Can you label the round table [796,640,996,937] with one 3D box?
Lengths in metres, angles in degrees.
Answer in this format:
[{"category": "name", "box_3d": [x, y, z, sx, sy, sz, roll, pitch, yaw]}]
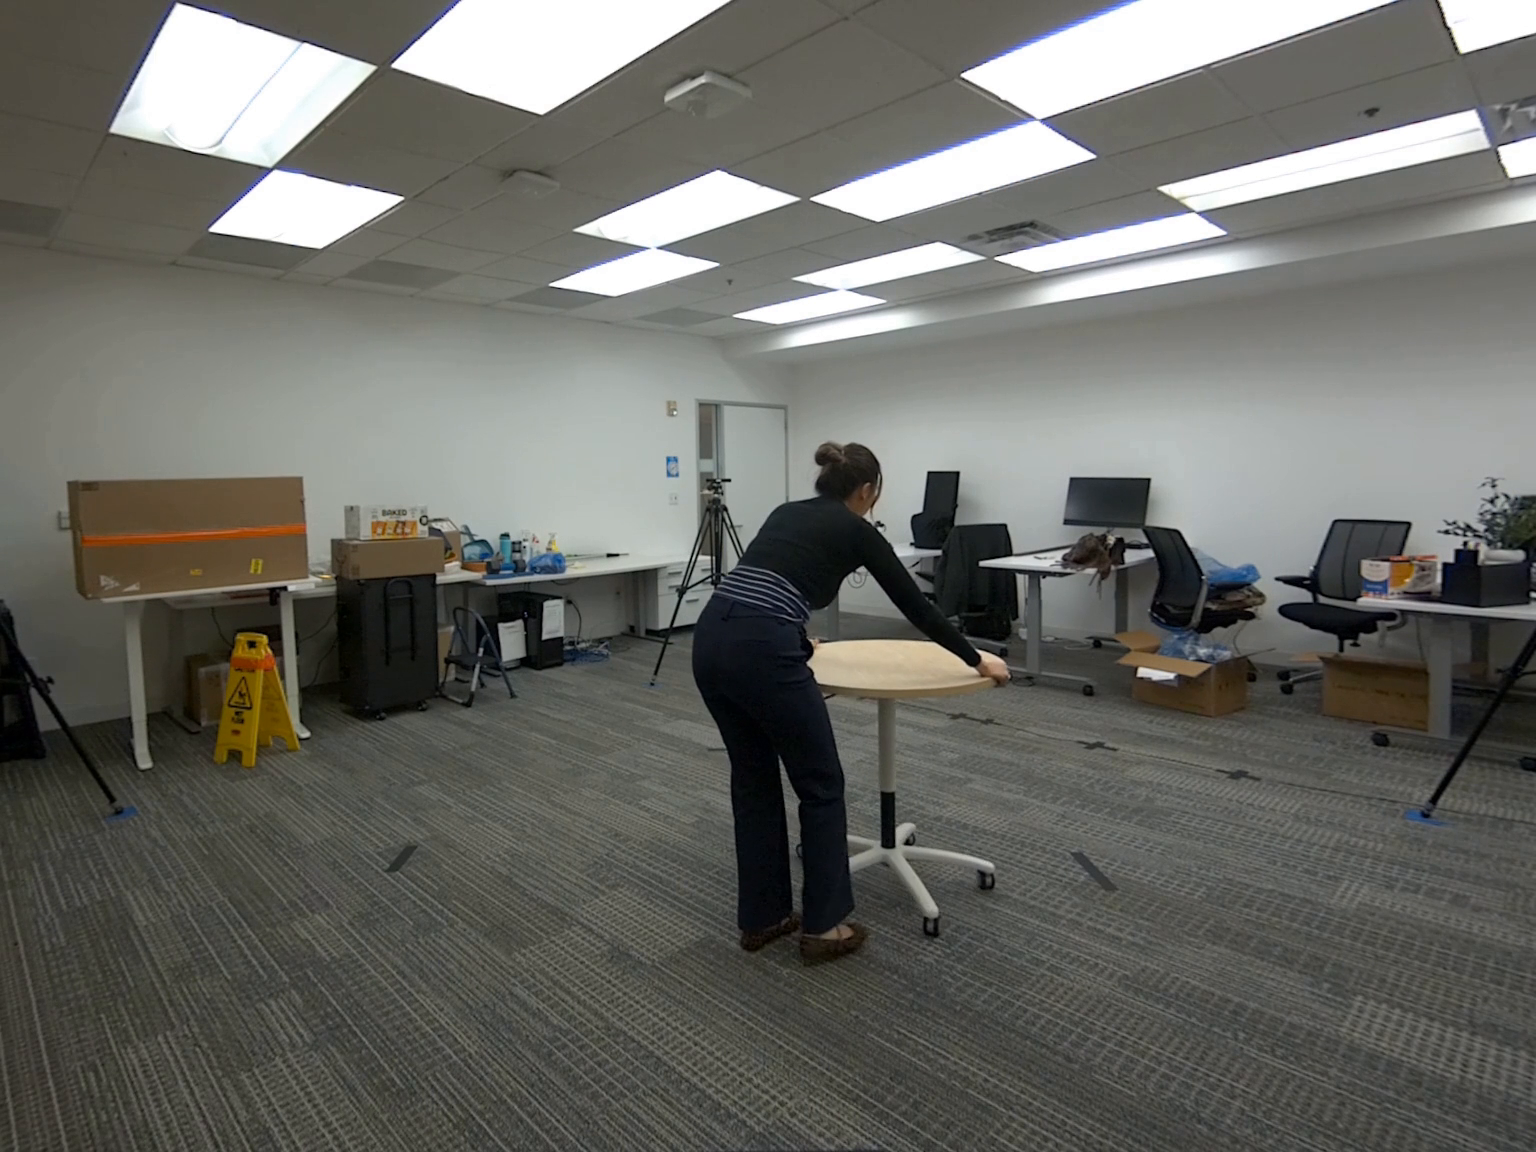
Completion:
[{"category": "round table", "box_3d": [0.405, 0.674, 2.903, 0.763, 0.791, 0.768, -1, 5, -2]}]
